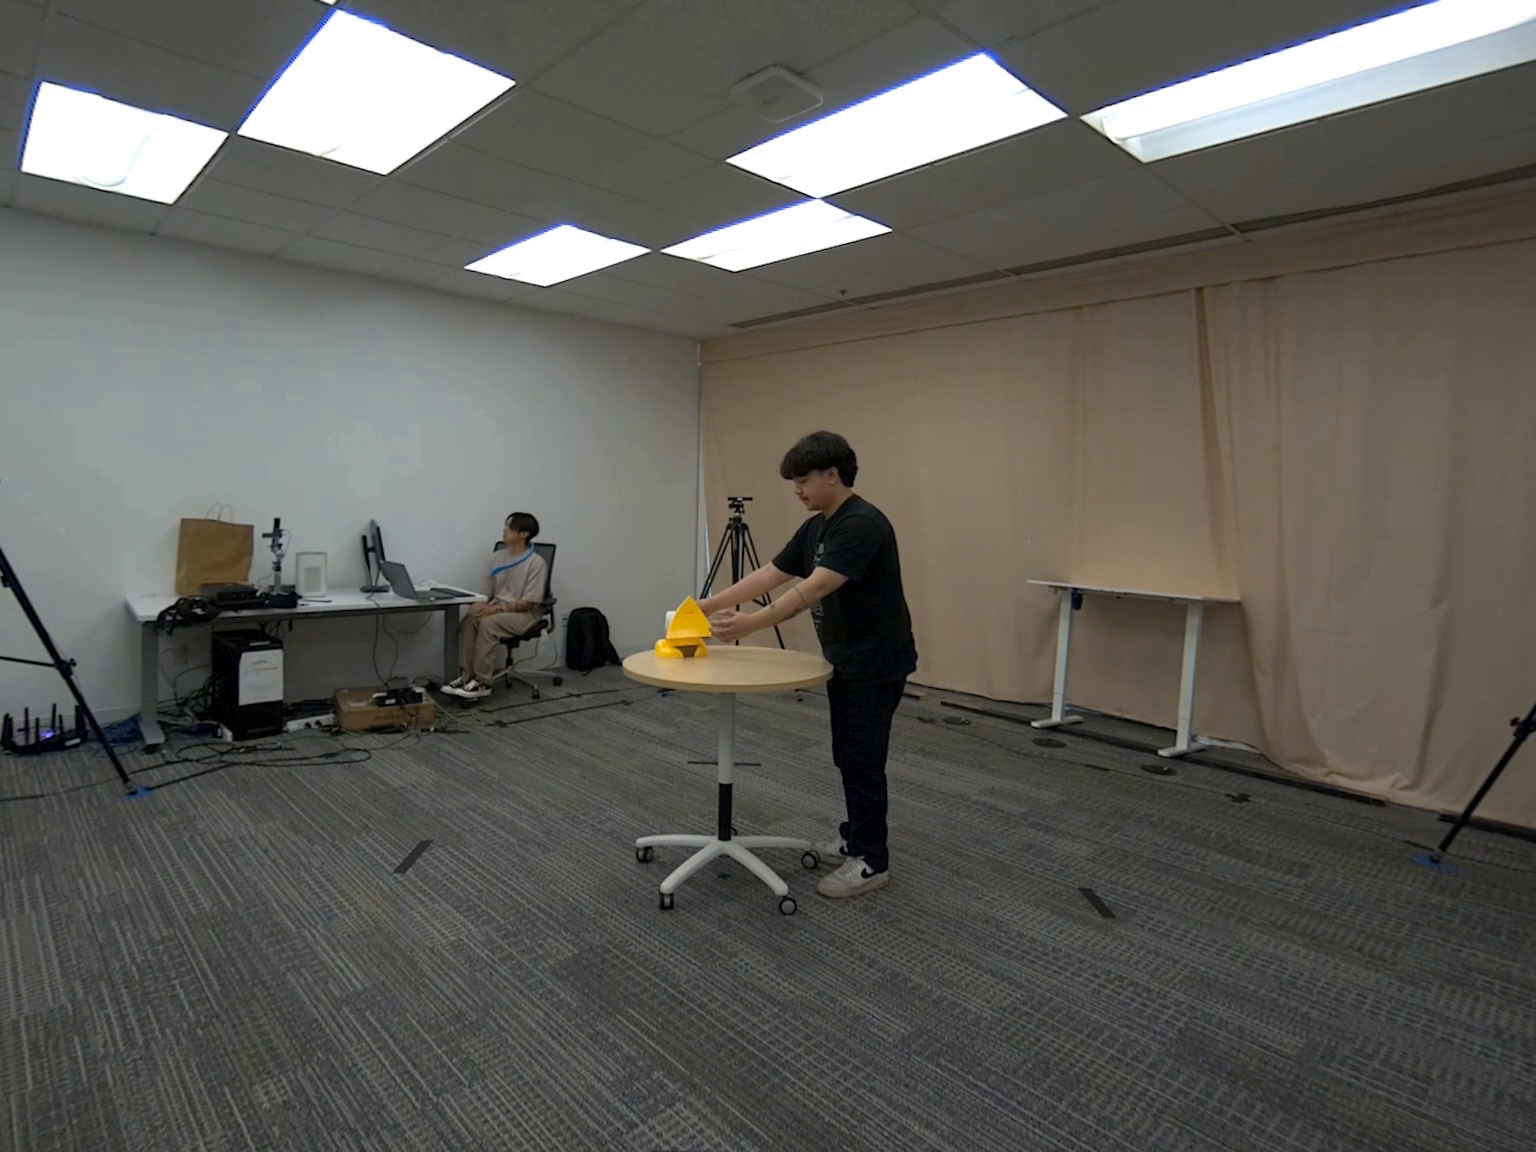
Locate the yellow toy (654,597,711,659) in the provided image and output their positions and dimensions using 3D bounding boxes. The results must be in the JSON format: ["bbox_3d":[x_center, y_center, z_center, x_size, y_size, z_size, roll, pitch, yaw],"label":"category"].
[{"bbox_3d":[-0.331,0.186,3.217,0.201,0.230,0.197,-1,5,-29],"label":"yellow toy"}]
